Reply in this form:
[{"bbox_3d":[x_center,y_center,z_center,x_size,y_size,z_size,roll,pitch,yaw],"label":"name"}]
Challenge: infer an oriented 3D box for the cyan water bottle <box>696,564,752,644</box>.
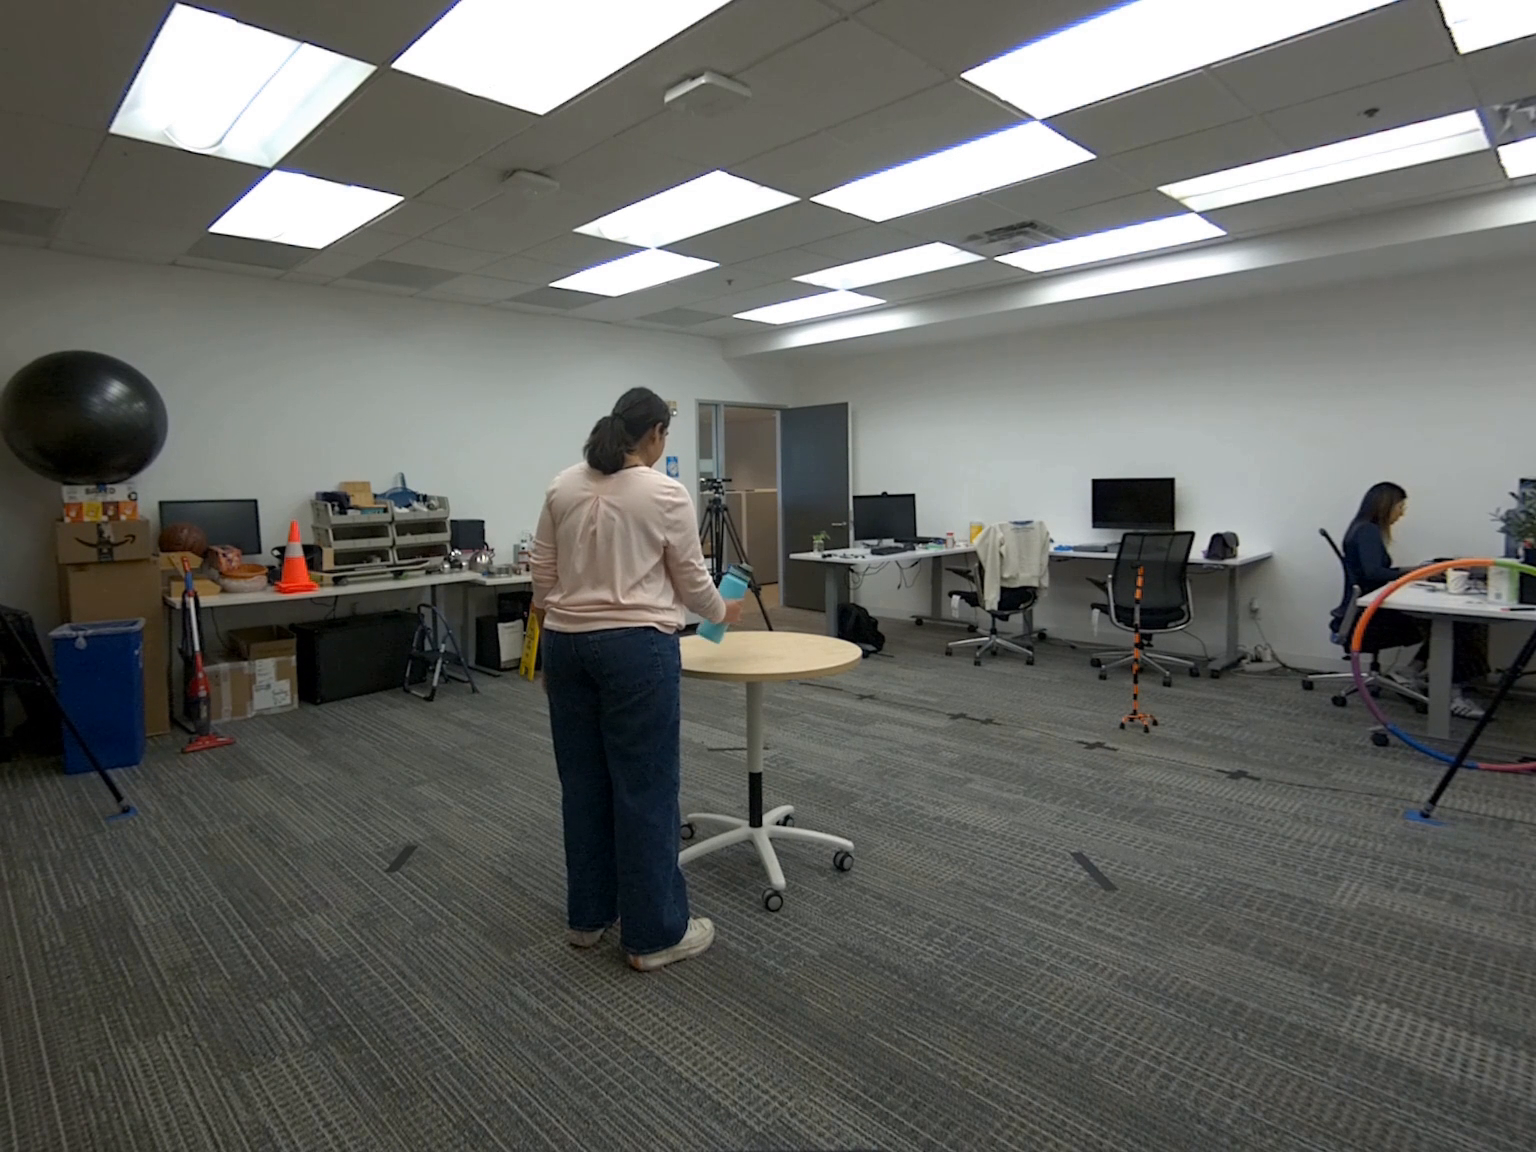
[{"bbox_3d":[-0.142,0.093,2.891,0.092,0.284,0.092,24,-7,1],"label":"cyan water bottle"}]
